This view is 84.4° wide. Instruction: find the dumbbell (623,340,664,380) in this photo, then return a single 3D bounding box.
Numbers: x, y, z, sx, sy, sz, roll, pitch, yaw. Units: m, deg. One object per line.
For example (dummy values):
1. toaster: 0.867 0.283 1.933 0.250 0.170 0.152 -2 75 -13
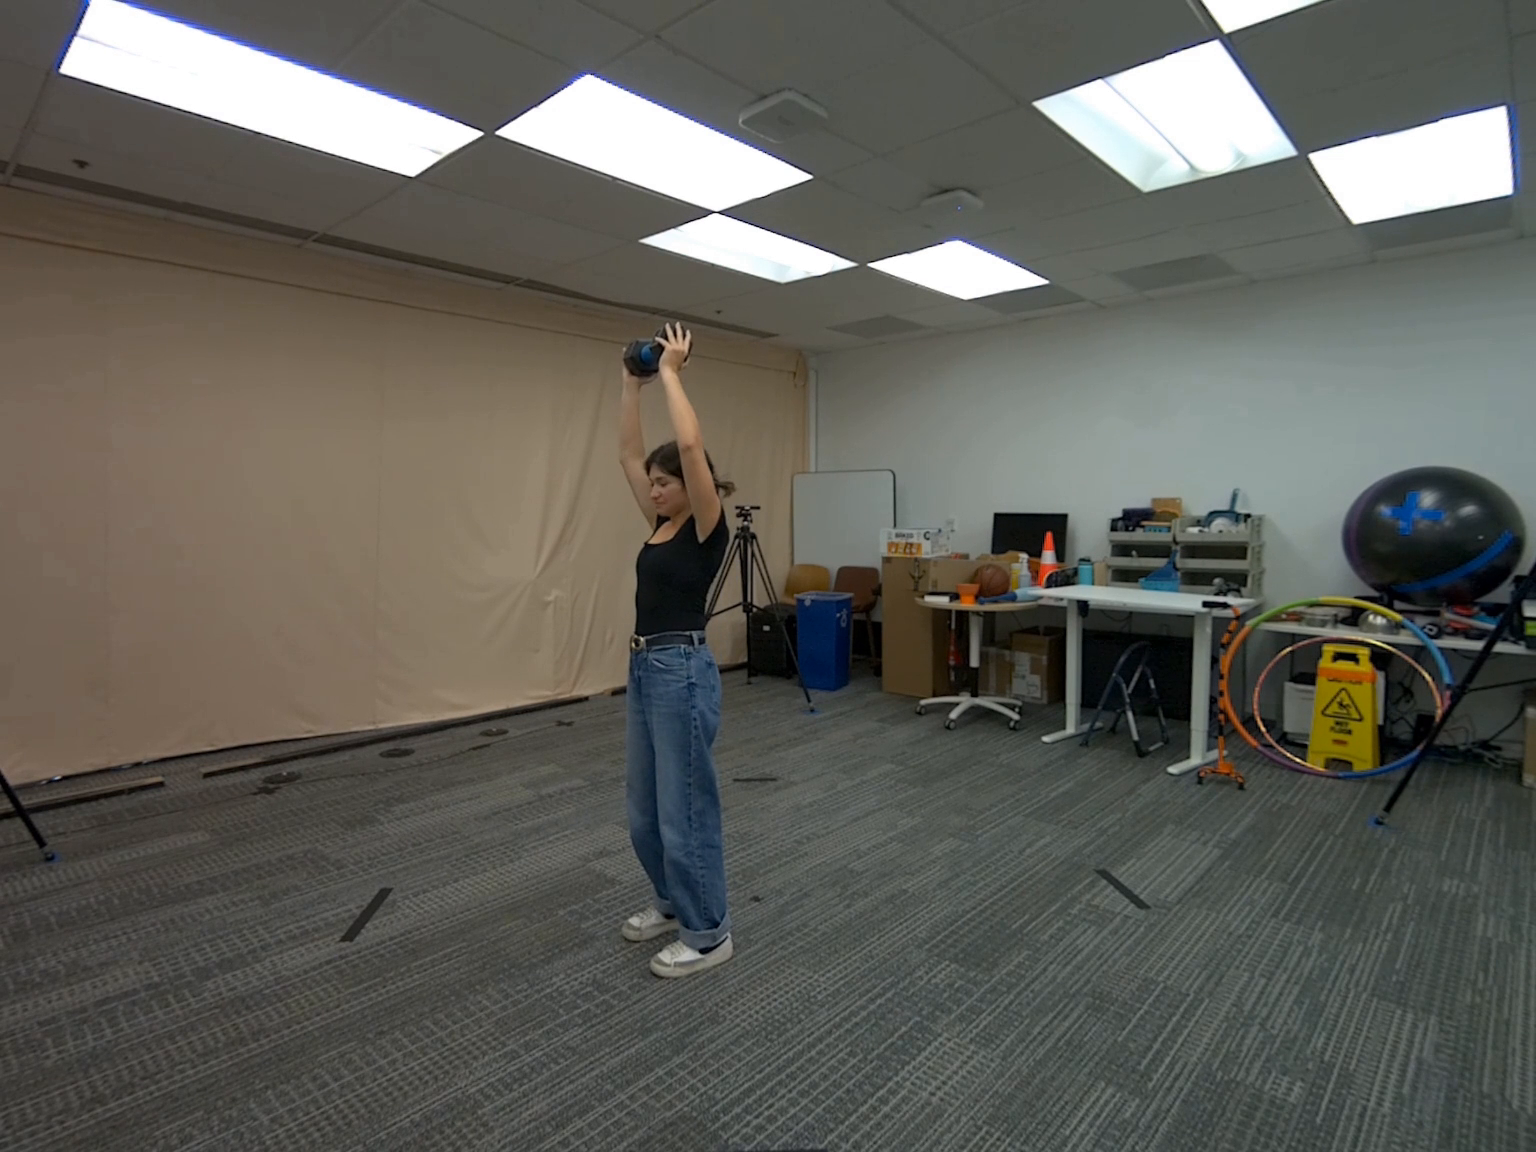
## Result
1. dumbbell: -0.342 -0.686 2.601 0.108 0.120 0.302 -42 22 -22
